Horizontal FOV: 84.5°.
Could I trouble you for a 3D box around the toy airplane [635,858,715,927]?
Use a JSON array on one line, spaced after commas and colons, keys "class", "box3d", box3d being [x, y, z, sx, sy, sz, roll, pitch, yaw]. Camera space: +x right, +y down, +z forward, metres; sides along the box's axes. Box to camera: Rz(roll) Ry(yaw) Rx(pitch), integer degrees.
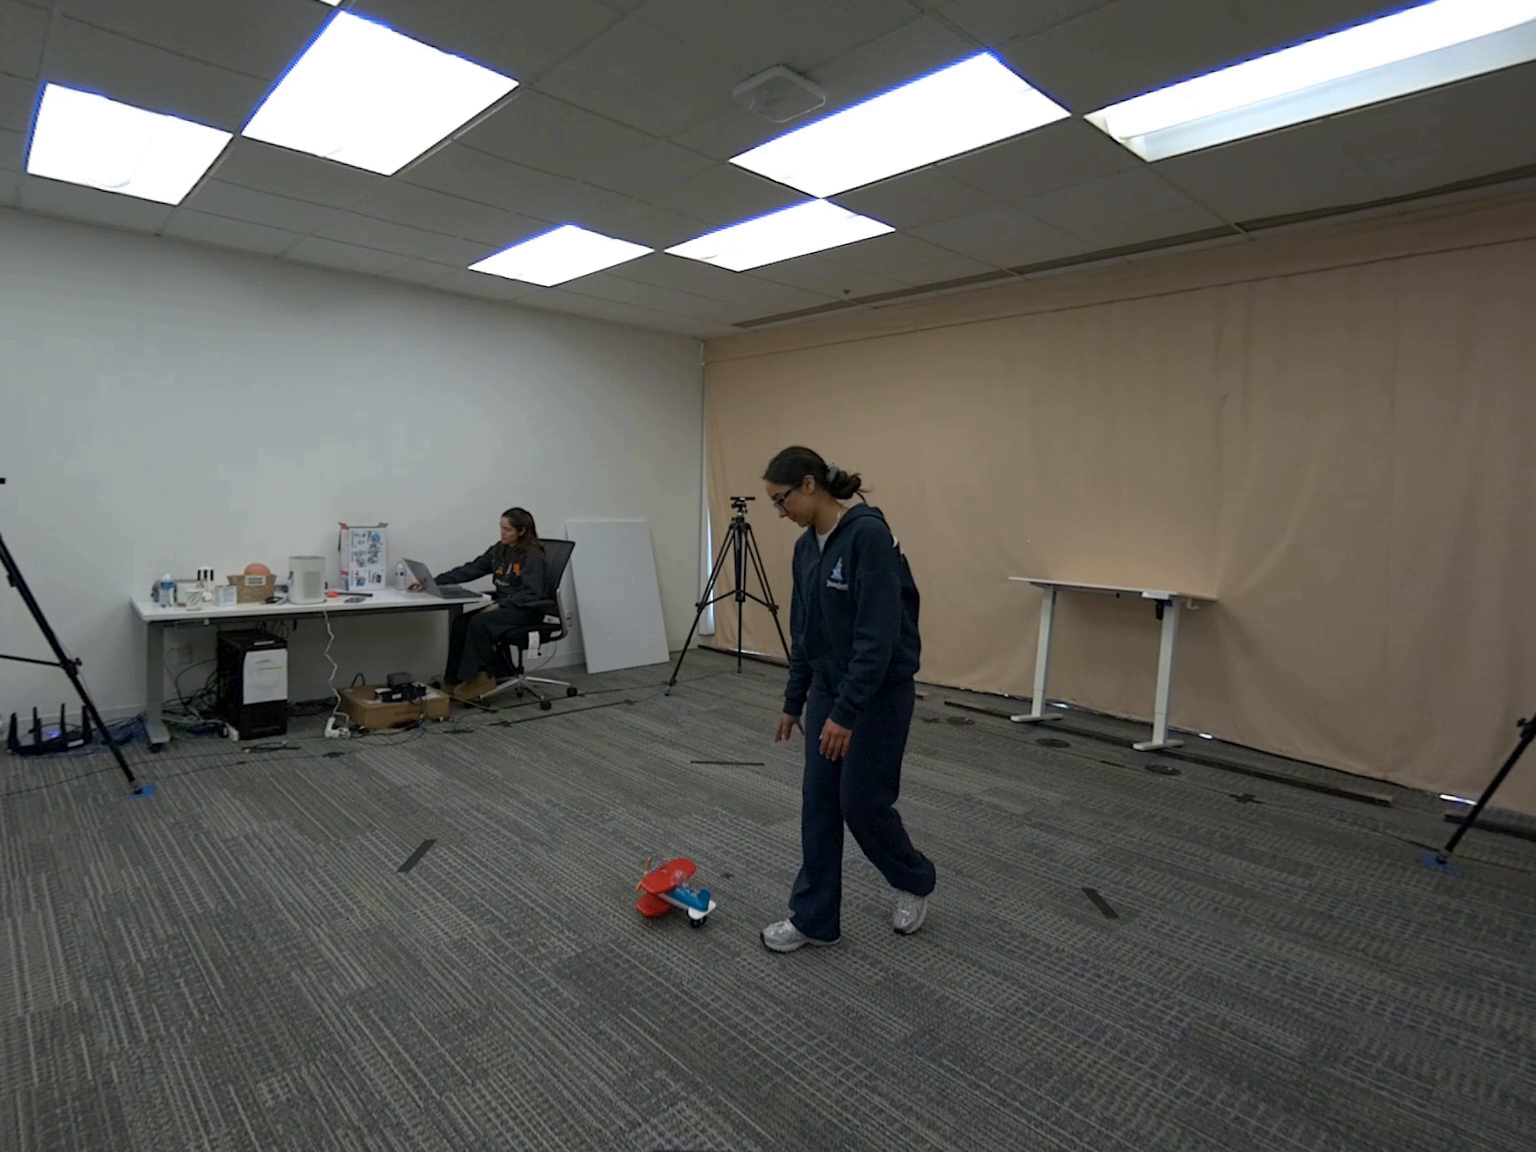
[{"class": "toy airplane", "box3d": [-0.306, 1.056, 2.800, 0.259, 0.156, 0.252, 1, 6, -2]}]
